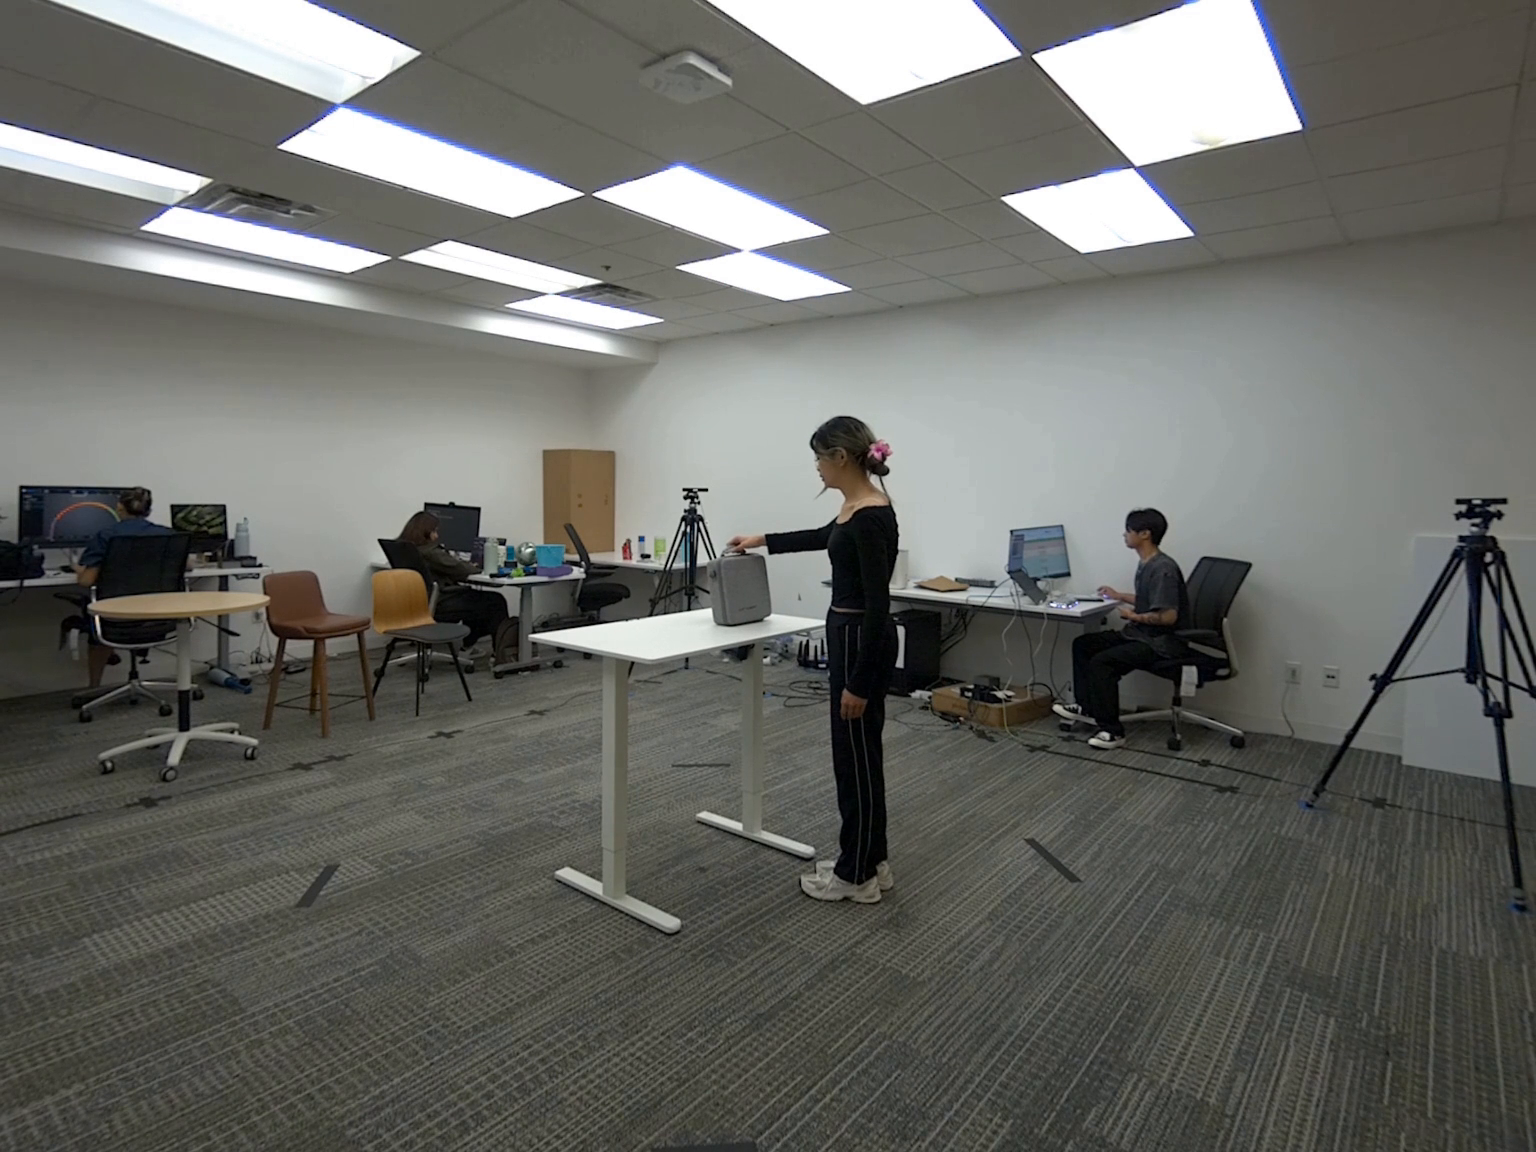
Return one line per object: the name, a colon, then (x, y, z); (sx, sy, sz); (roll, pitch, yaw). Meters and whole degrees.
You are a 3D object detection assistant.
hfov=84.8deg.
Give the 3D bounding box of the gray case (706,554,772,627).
gray case: (-0.120, 0.043, 3.233); (0.107, 0.261, 0.249); (-8, -2, 43)
